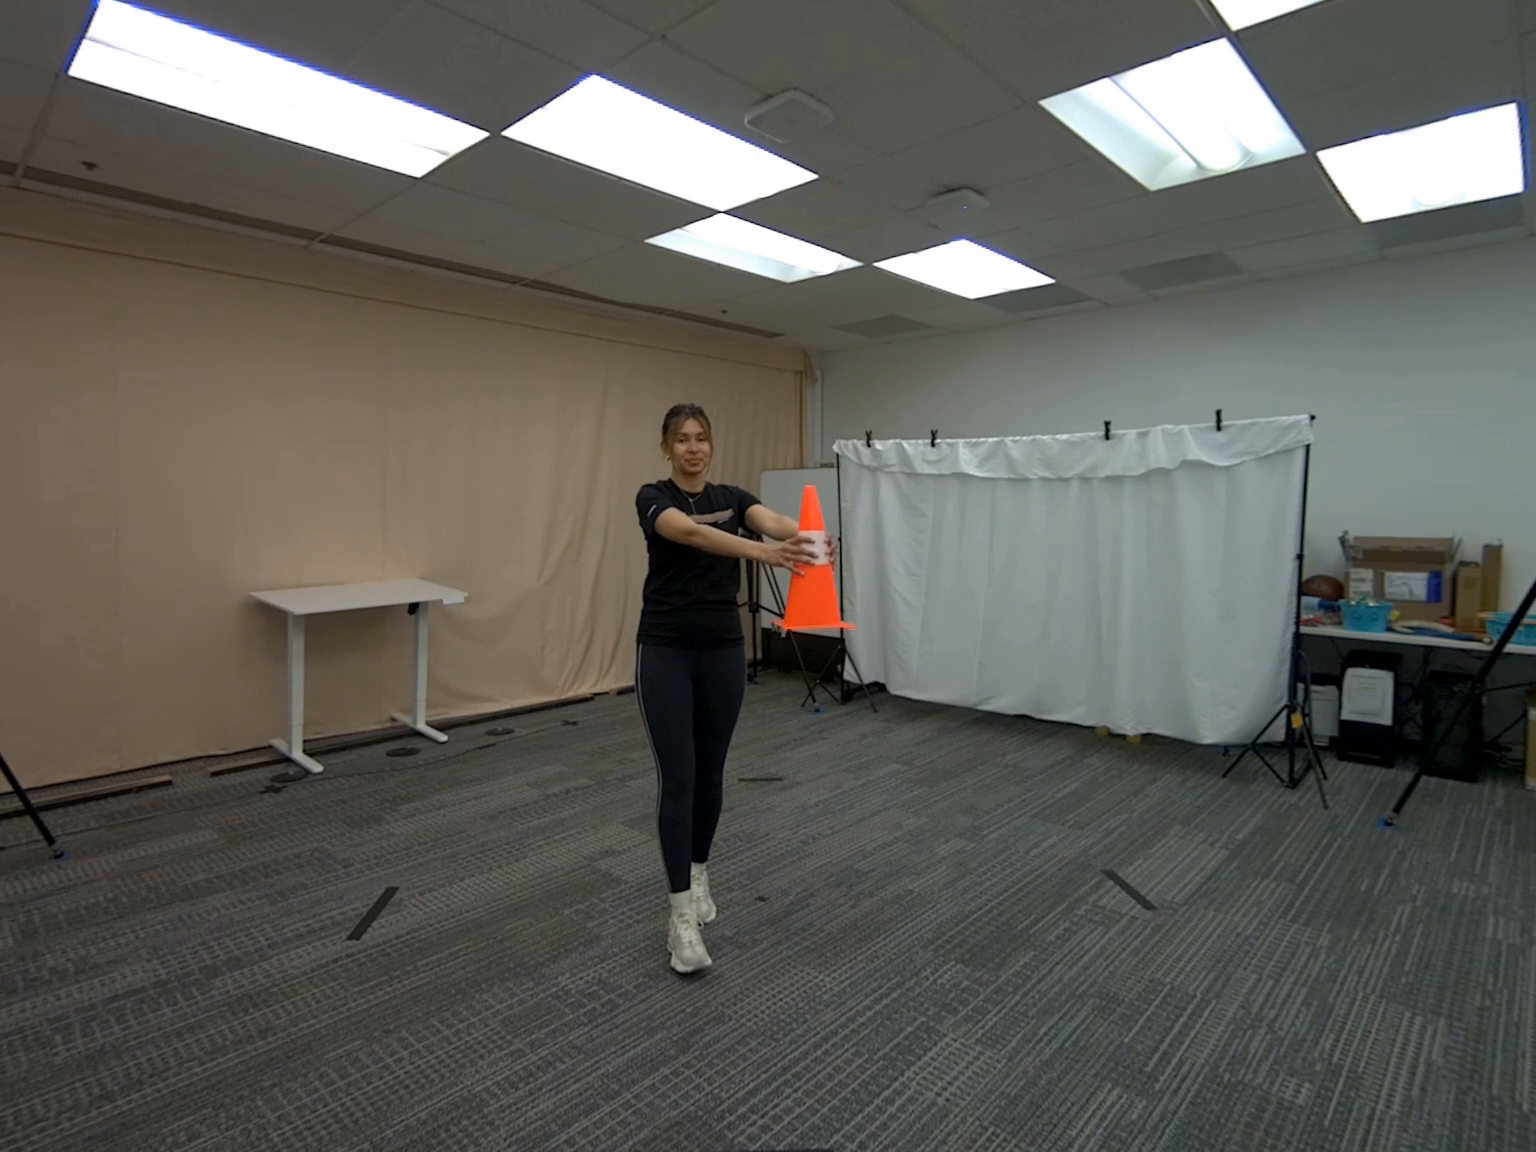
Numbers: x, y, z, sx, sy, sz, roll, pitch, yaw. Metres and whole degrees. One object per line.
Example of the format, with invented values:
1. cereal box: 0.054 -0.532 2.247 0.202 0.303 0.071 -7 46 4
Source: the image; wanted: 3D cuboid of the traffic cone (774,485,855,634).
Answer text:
1. traffic cone: 0.122 -0.055 2.305 0.201 0.383 0.207 -1 1 -11
